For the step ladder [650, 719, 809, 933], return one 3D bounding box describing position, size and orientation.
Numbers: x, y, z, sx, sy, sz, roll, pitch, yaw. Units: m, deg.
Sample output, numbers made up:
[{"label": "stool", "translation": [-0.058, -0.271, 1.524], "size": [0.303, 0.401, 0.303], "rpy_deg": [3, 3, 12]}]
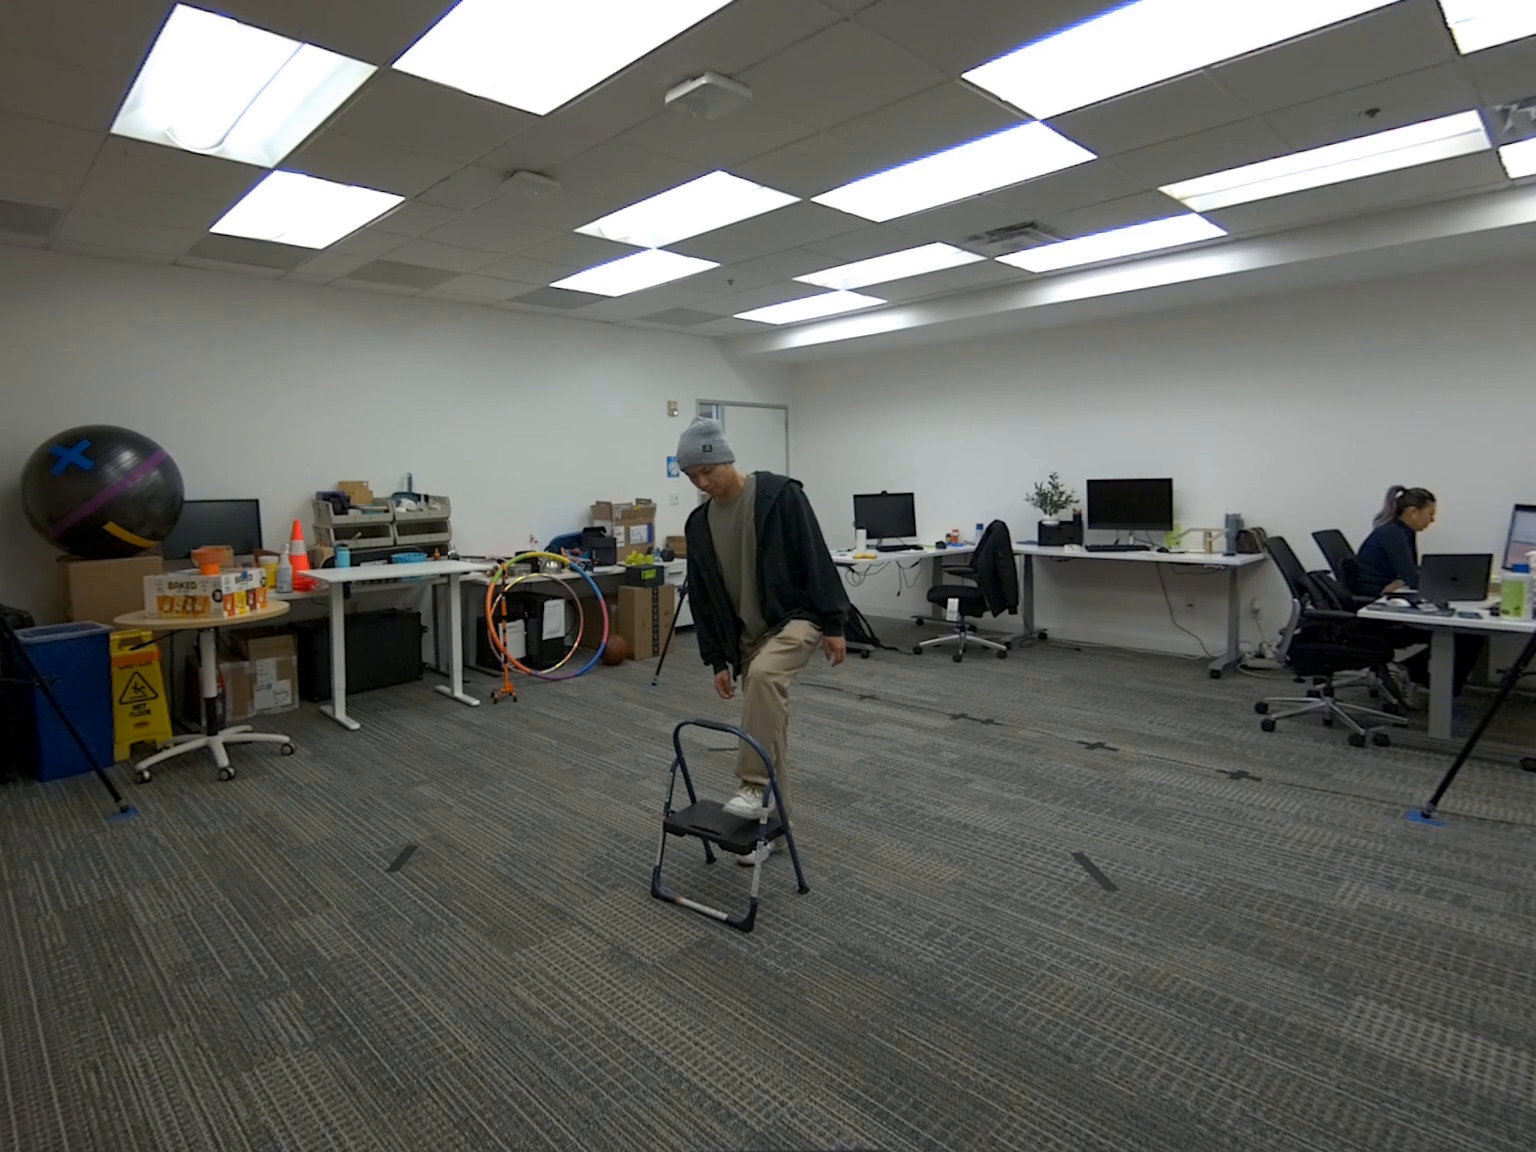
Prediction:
[{"label": "step ladder", "translation": [-0.135, 0.772, 2.865], "size": [0.443, 0.603, 0.341], "rpy_deg": [2, 6, 35]}]
